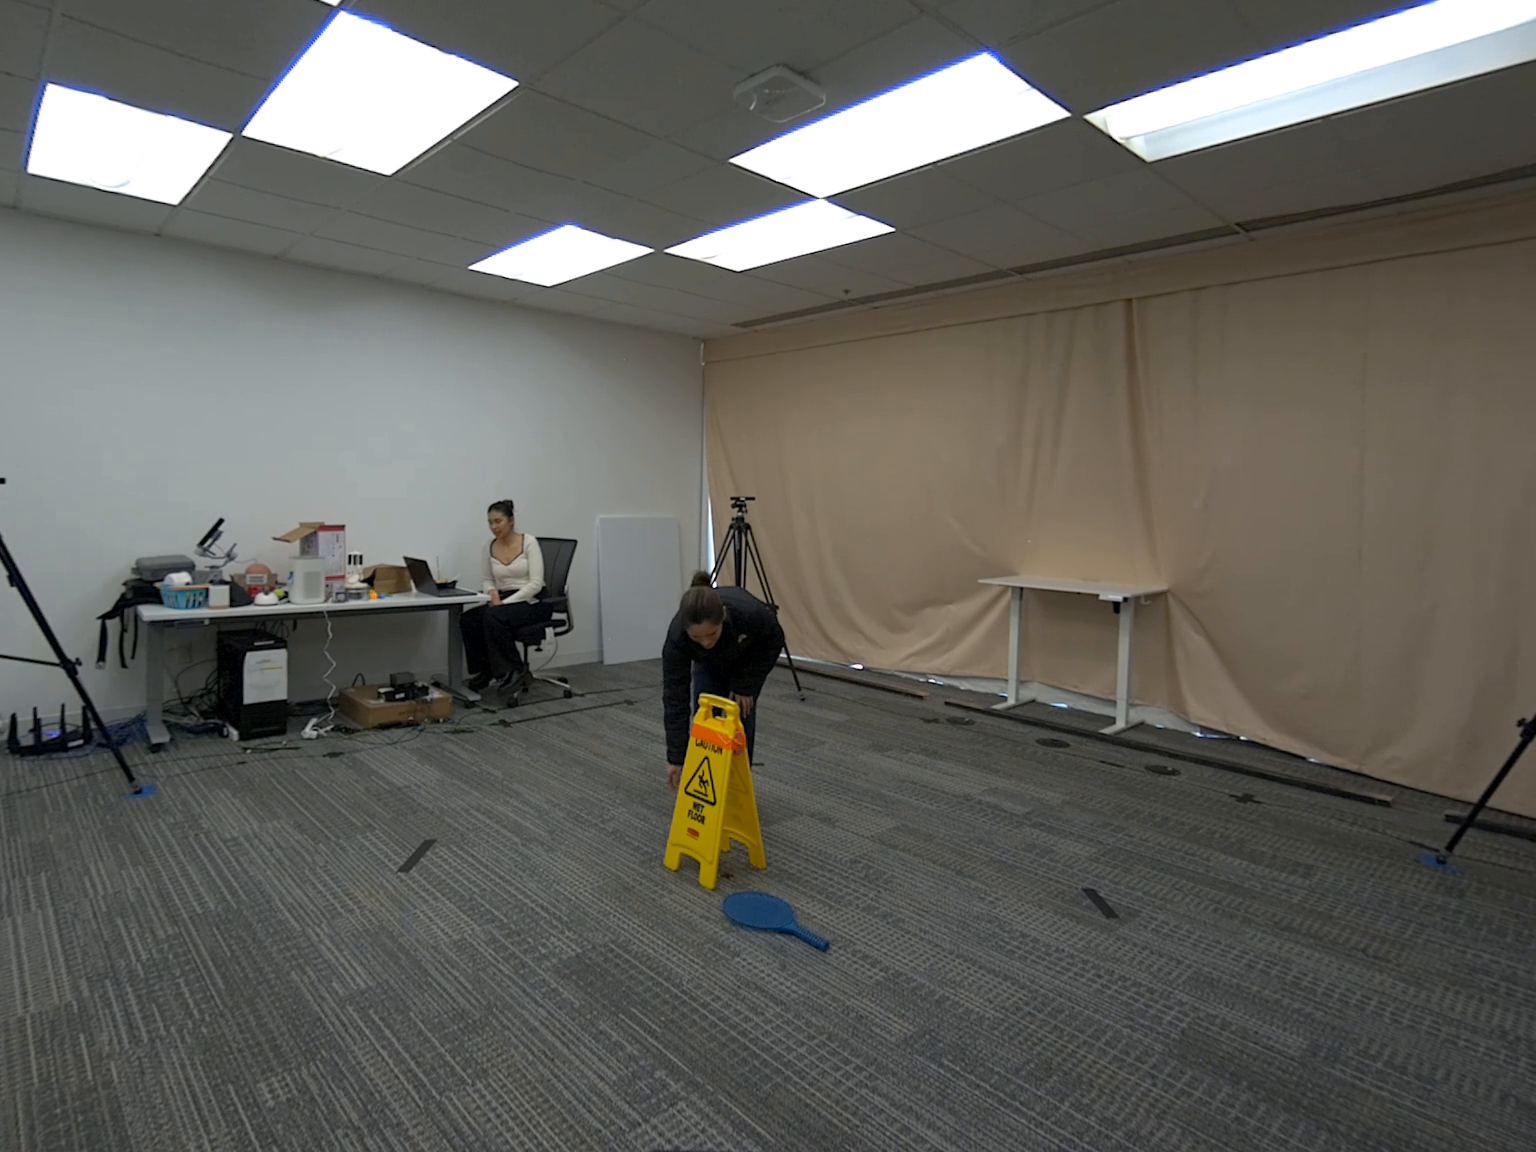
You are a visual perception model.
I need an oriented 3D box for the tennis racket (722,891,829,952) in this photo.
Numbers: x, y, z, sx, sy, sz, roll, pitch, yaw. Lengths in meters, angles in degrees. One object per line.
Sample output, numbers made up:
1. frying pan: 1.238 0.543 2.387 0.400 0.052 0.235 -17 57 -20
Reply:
1. tennis racket: 0.020 1.120 2.756 0.209 0.031 0.444 -7 10 -42
